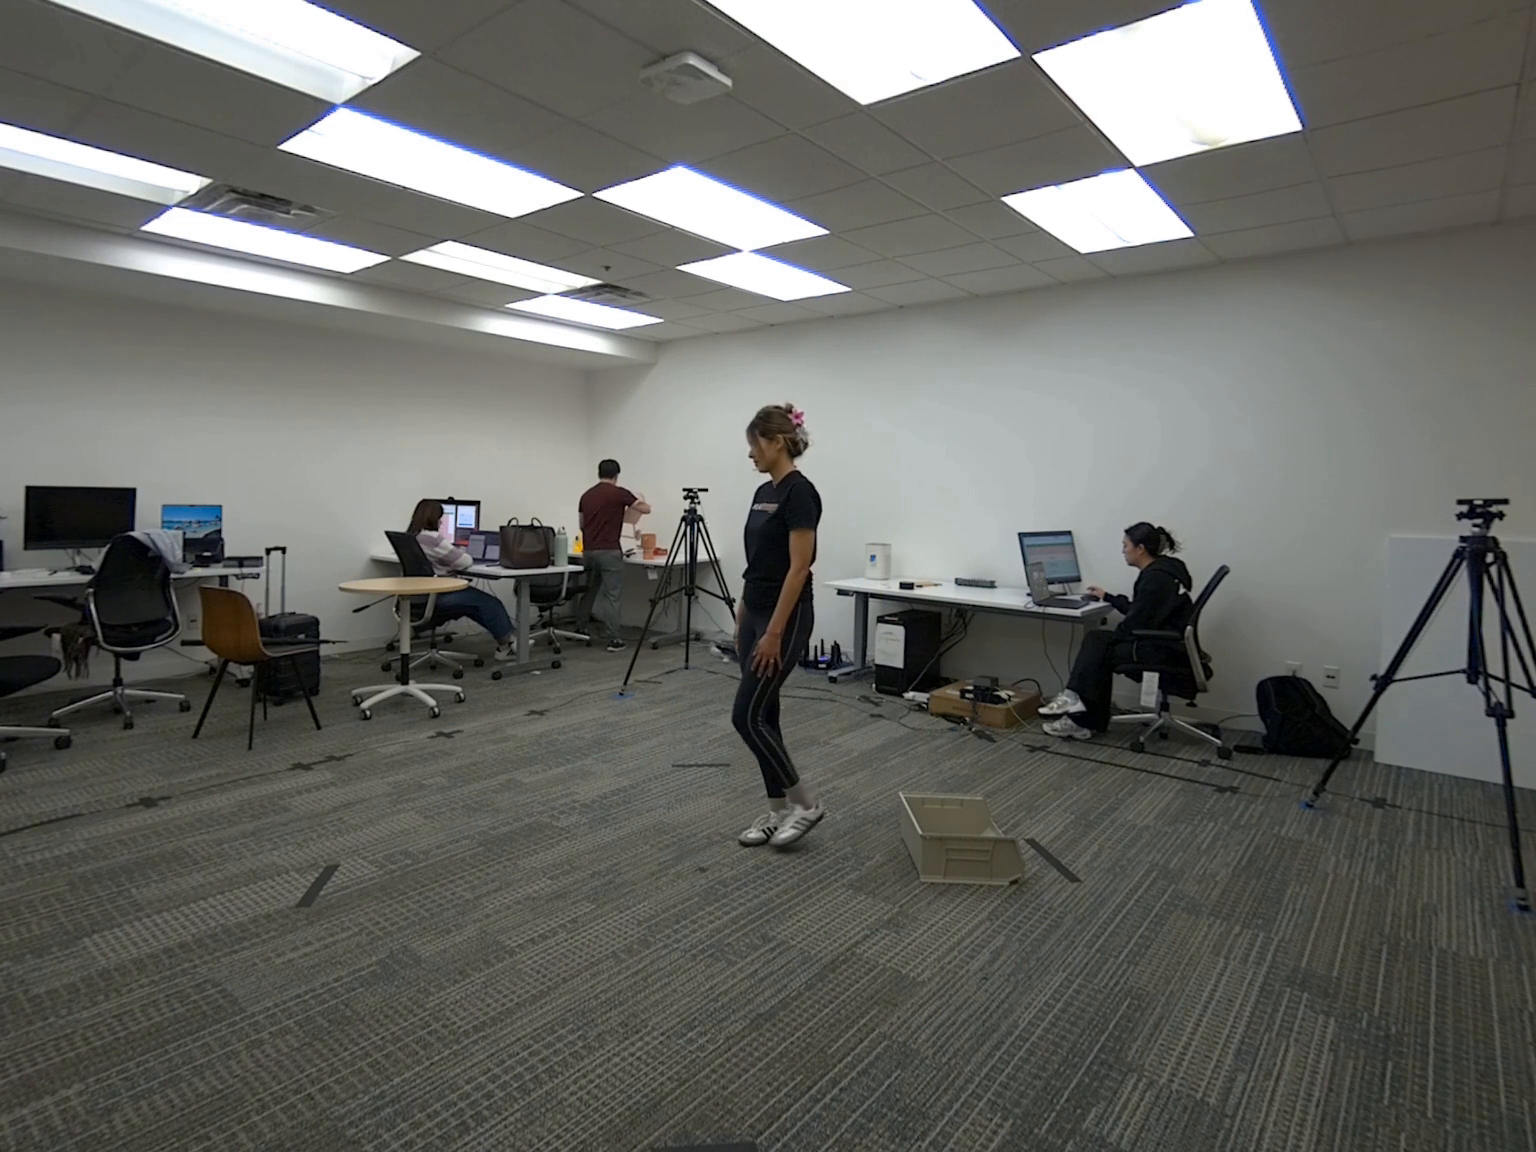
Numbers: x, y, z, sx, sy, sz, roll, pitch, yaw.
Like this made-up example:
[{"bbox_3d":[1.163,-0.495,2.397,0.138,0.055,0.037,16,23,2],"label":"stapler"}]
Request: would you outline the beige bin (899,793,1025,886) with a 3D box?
[{"bbox_3d":[0.728,0.993,3.243,0.378,0.188,0.424,0,6,-1],"label":"beige bin"}]
